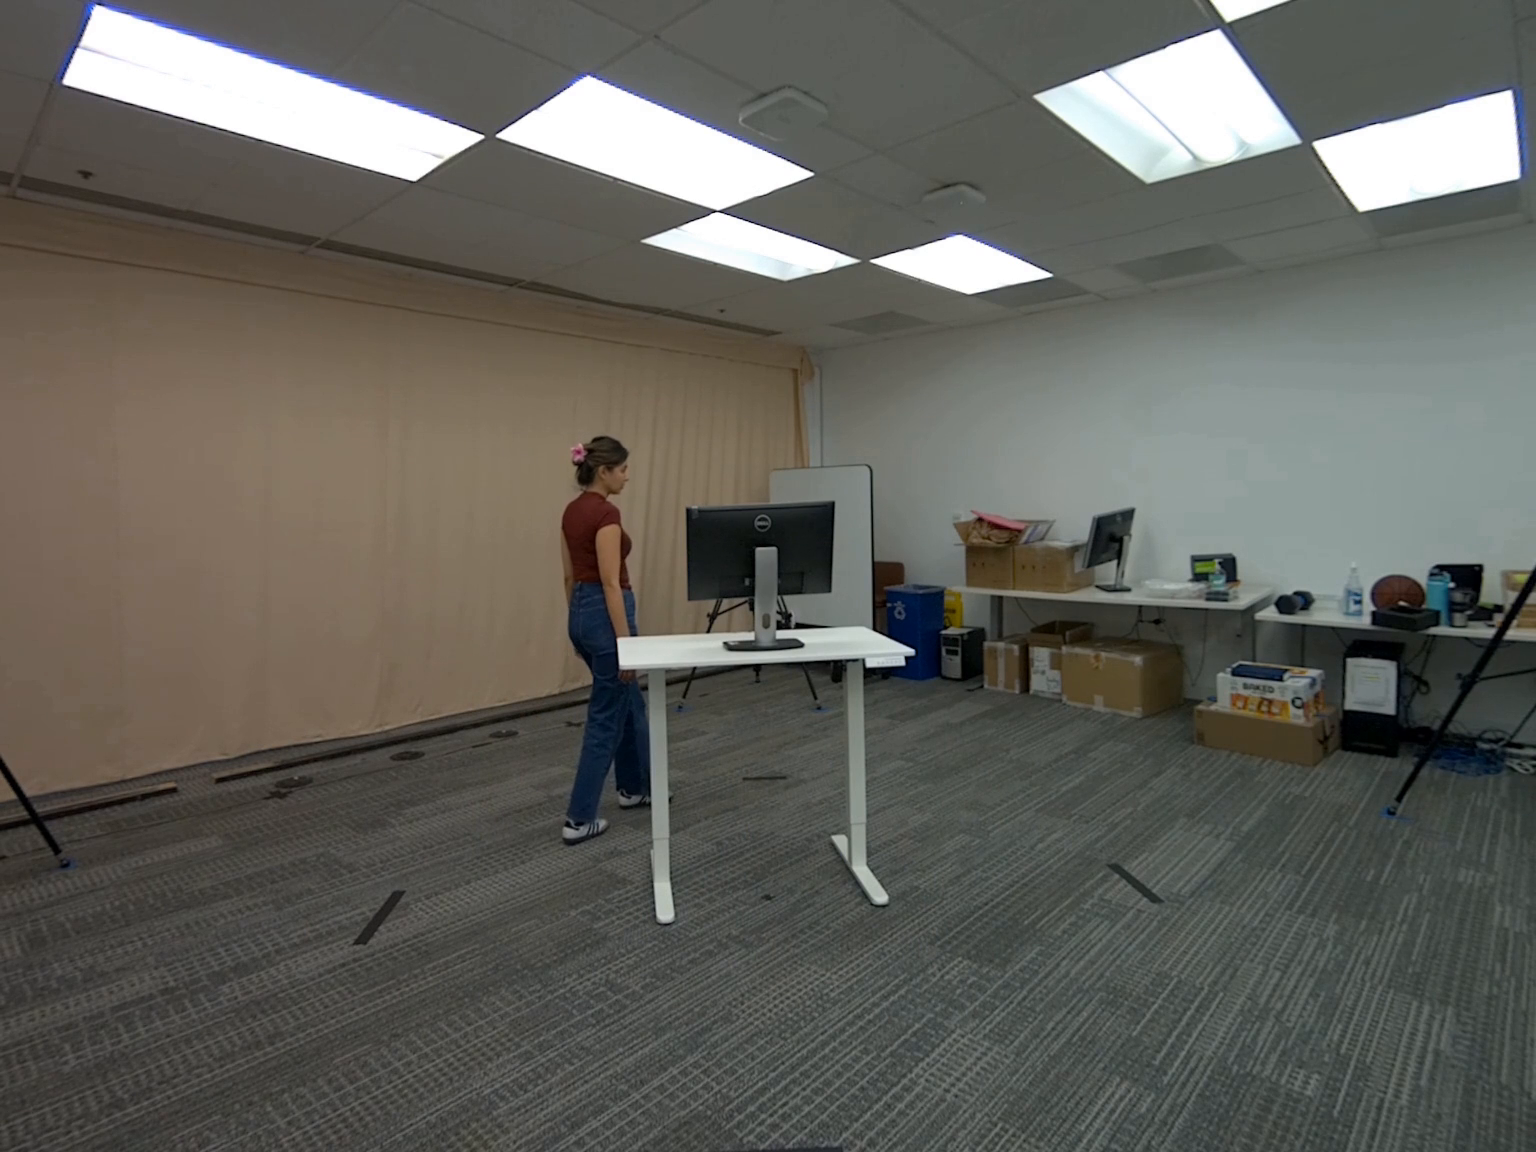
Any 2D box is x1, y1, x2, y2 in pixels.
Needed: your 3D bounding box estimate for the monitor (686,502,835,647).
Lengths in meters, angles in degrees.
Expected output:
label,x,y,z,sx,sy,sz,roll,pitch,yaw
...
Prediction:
label,x,y,z,sx,sy,sz,roll,pitch,yaw
monitor,-0.013,0.003,2.997,0.533,0.521,0.190,-2,5,-10
